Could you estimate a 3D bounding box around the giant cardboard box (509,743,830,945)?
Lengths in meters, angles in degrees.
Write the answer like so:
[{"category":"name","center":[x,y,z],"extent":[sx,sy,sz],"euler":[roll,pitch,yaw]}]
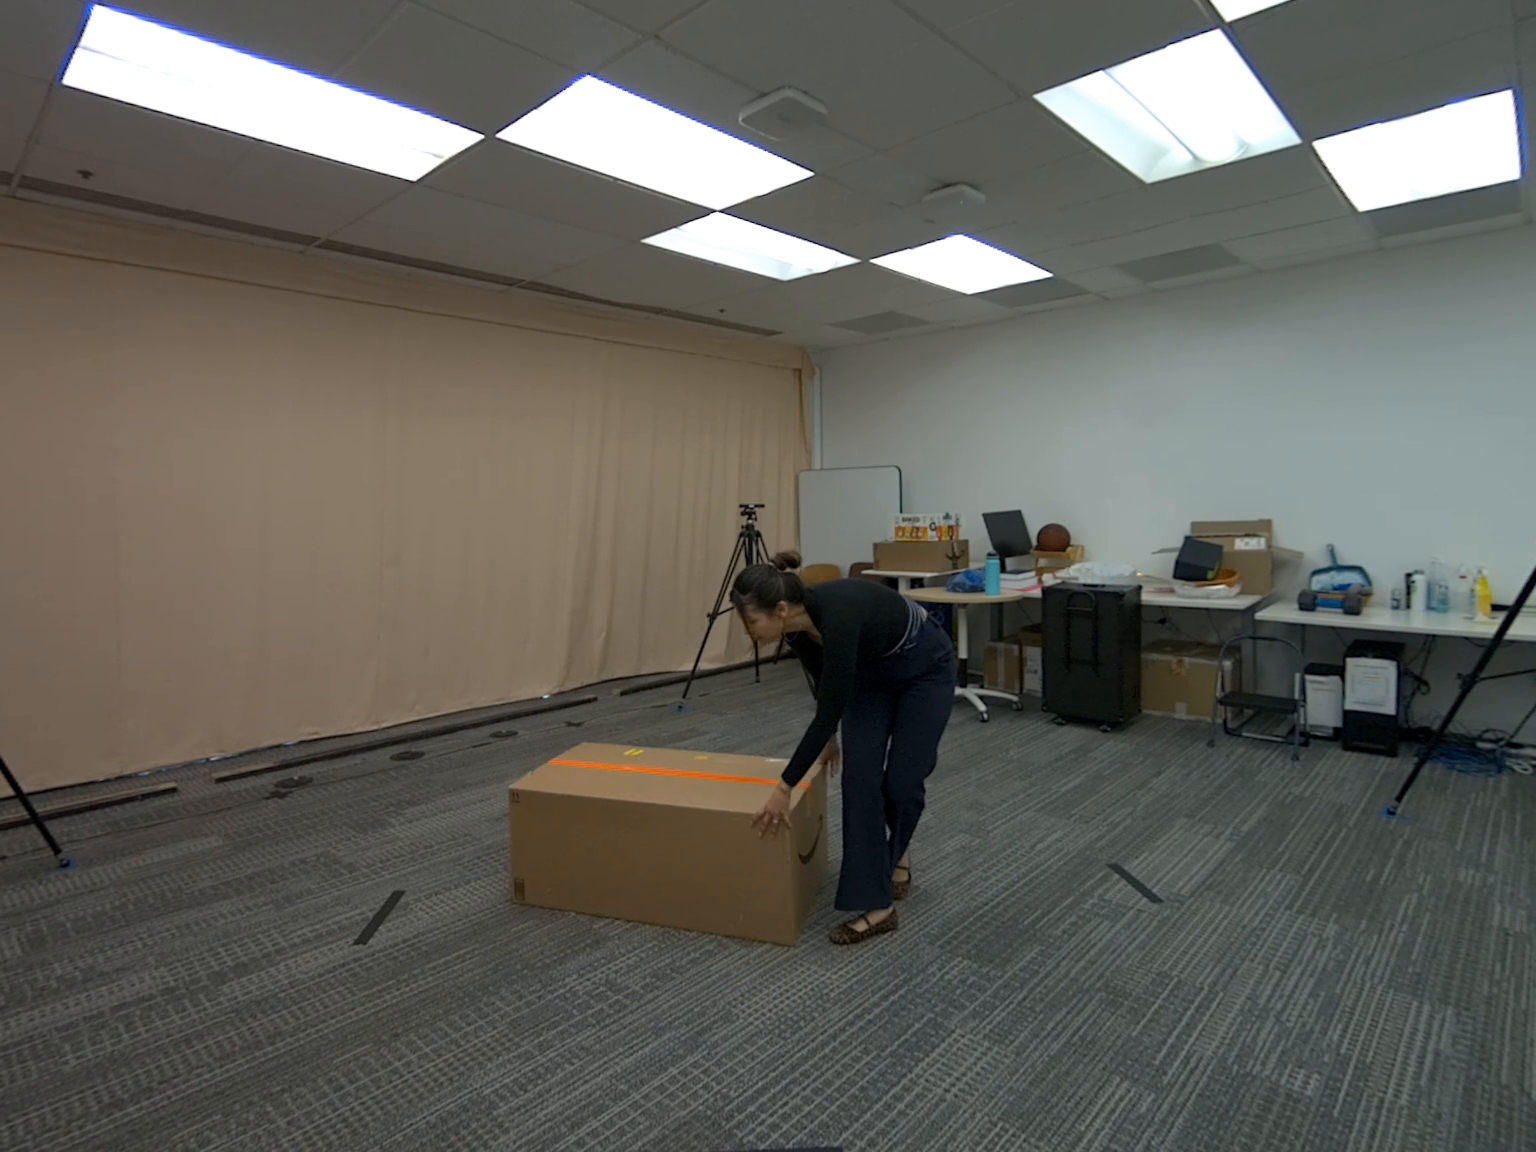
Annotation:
[{"category":"giant cardboard box","center":[-0.340,0.924,3.065],"extent":[1.046,0.425,0.567],"euler":[1,4,18]}]
